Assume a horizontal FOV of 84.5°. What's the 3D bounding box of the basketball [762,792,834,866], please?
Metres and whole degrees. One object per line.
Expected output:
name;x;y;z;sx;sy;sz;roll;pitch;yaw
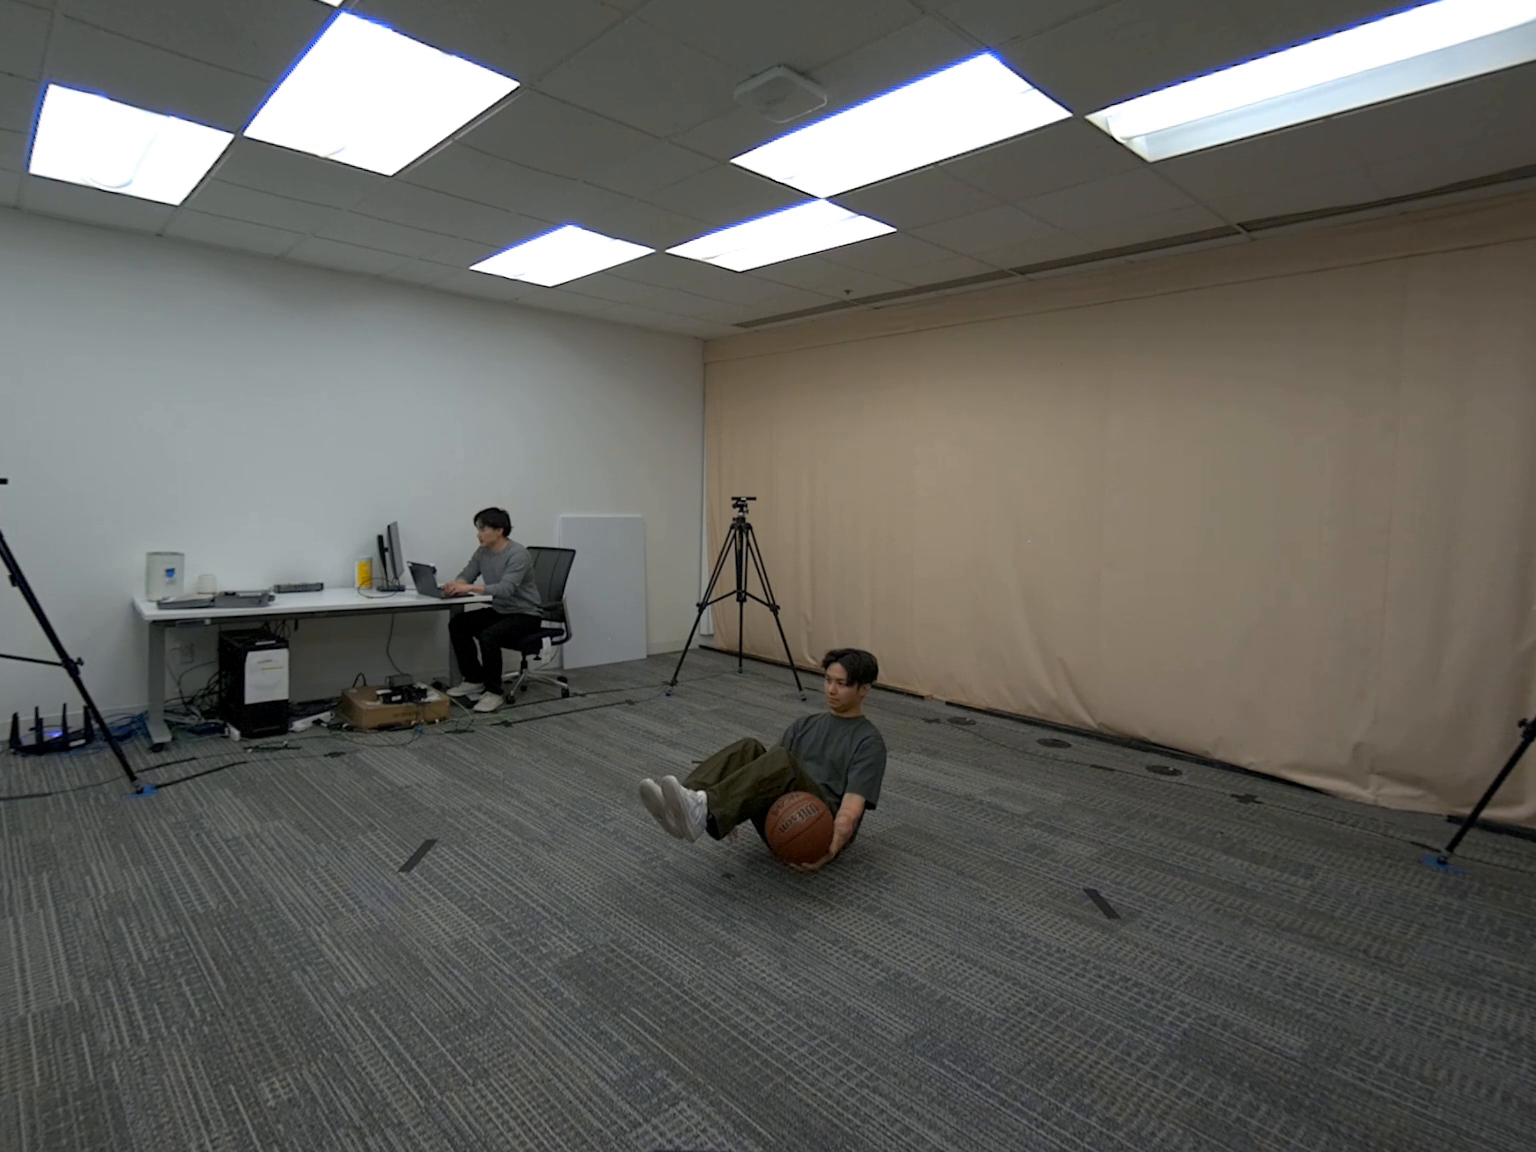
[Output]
basketball;0.098;0.867;2.917;0.236;0.235;0.237;1;4;-1
